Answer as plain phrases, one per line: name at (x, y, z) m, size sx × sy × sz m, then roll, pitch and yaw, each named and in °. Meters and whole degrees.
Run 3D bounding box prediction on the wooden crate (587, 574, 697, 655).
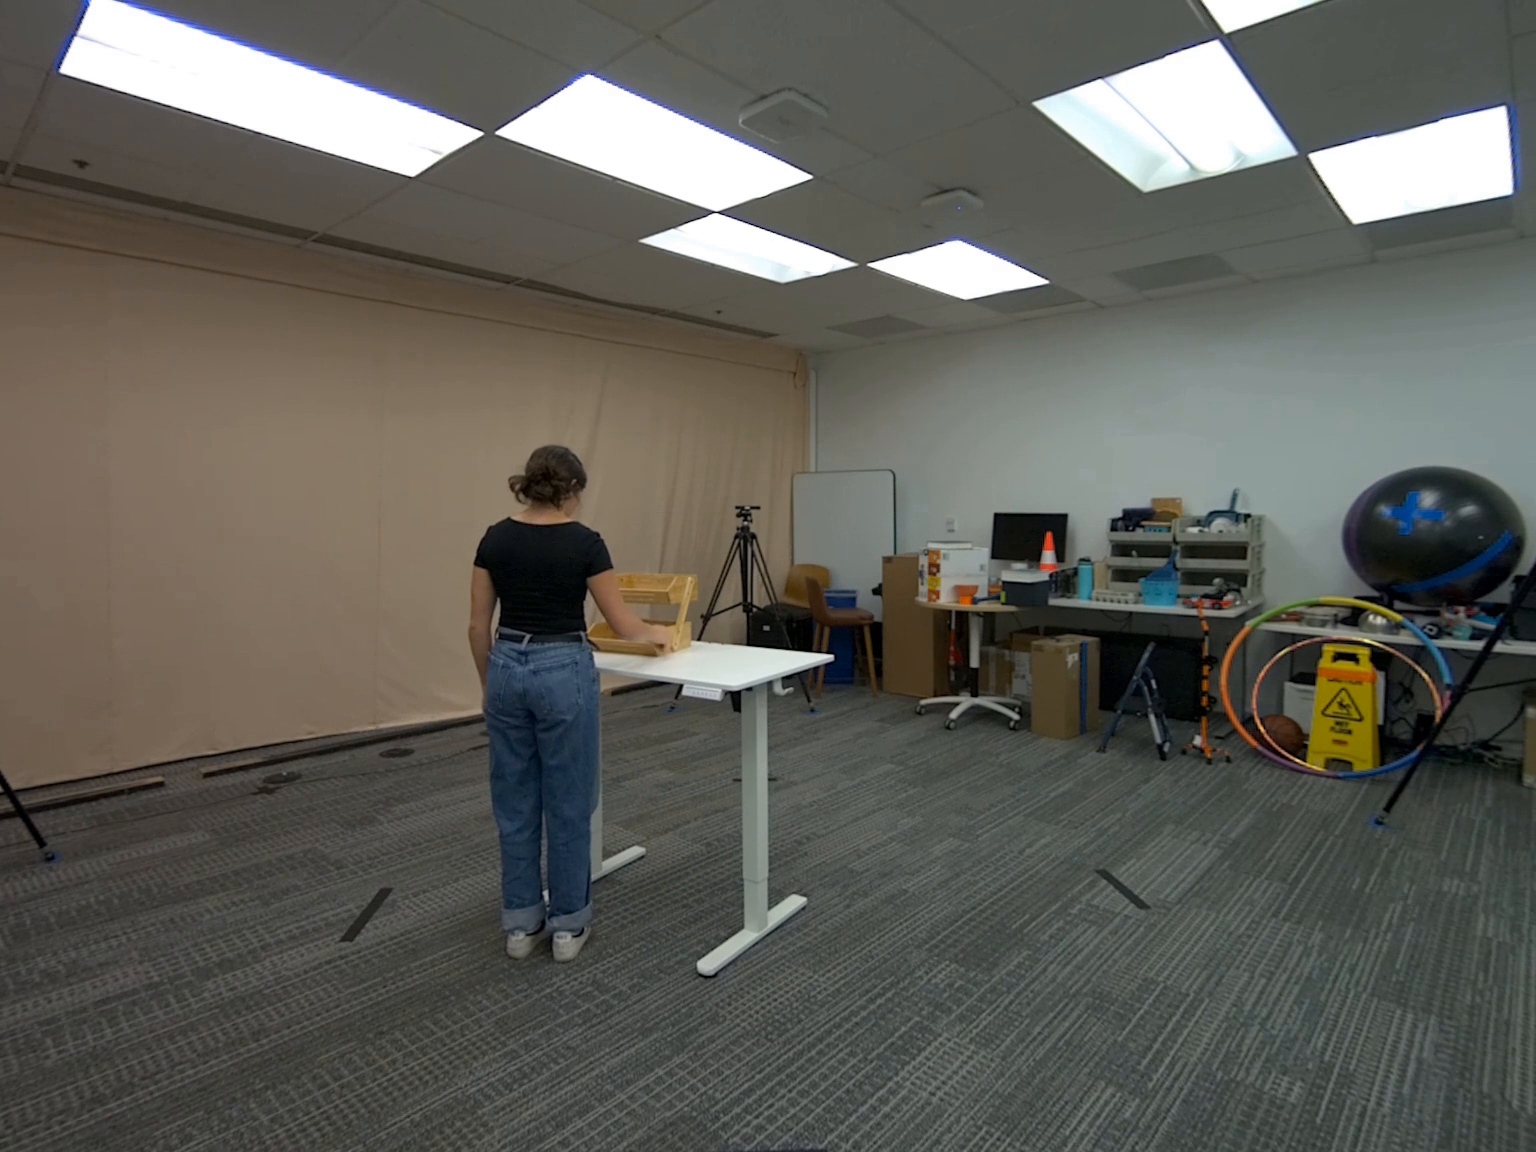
wooden crate at (-0.458, 0.129, 3.041) m, size 0.333 × 0.273 × 0.295 m, roll 1°, pitch 3°, yaw 25°
